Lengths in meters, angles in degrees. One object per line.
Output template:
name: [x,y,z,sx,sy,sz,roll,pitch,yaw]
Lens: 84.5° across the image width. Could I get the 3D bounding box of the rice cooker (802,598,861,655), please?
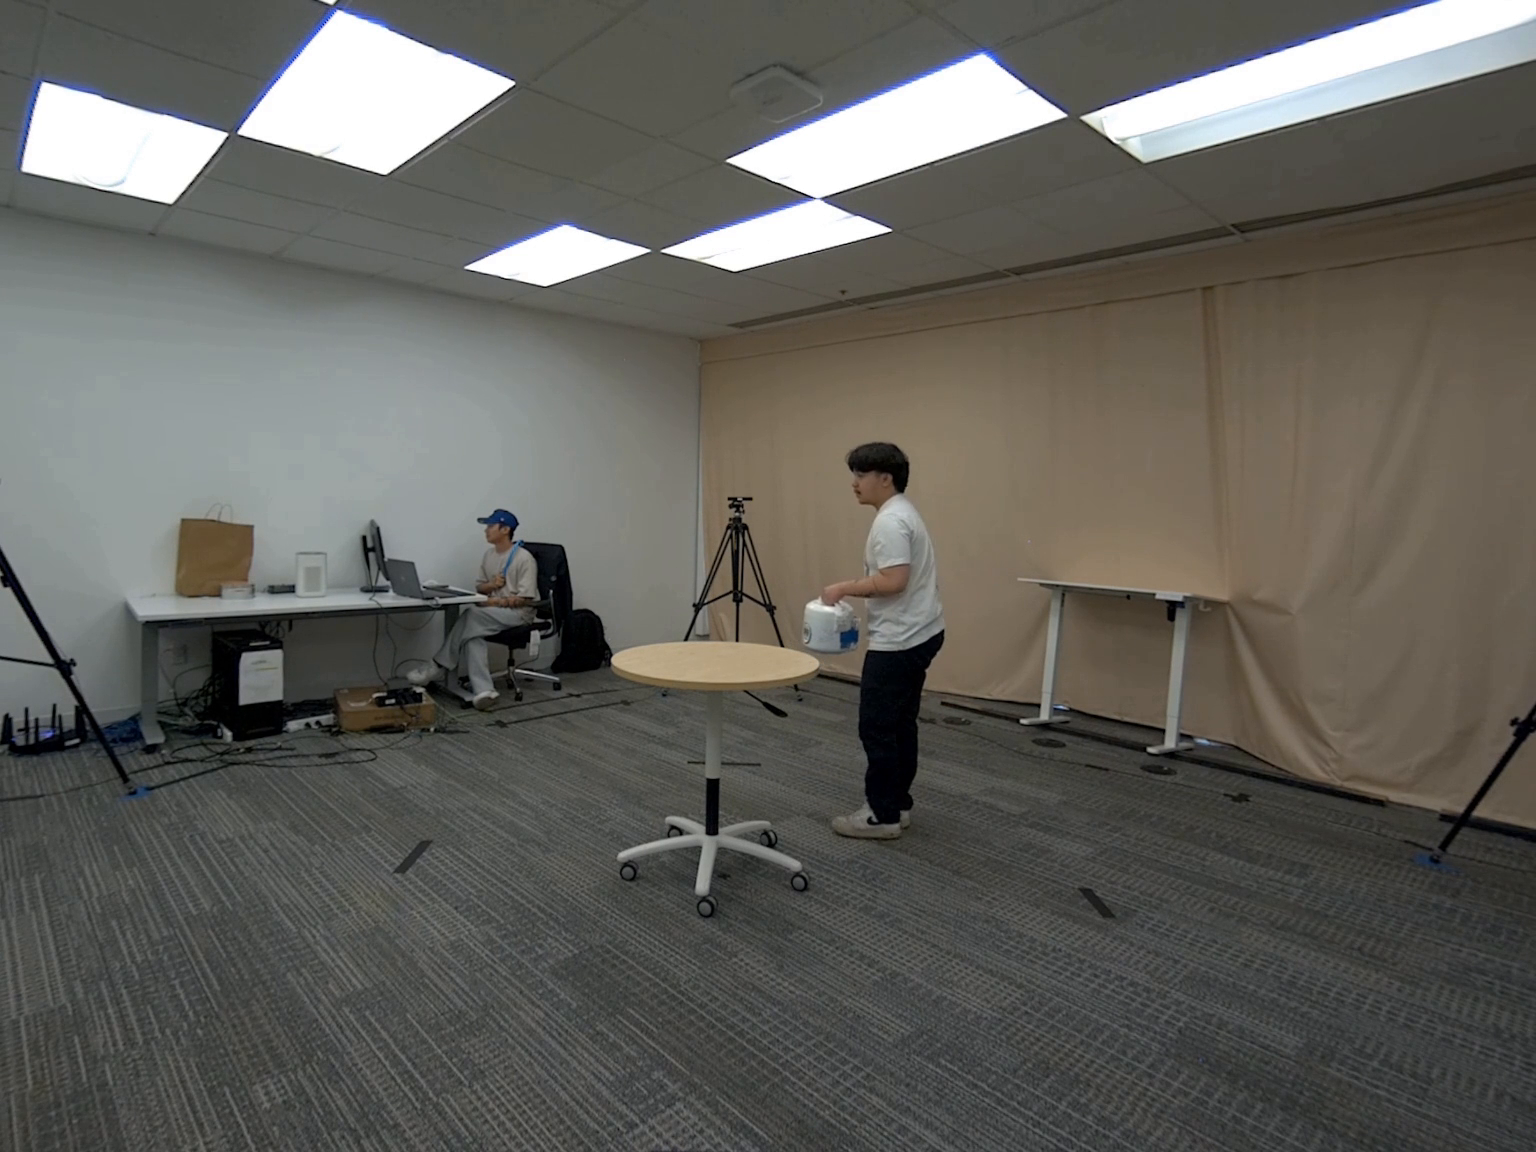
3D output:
rice cooker: [0.256,0.206,3.631,0.213,0.231,0.226,0,10,-28]
